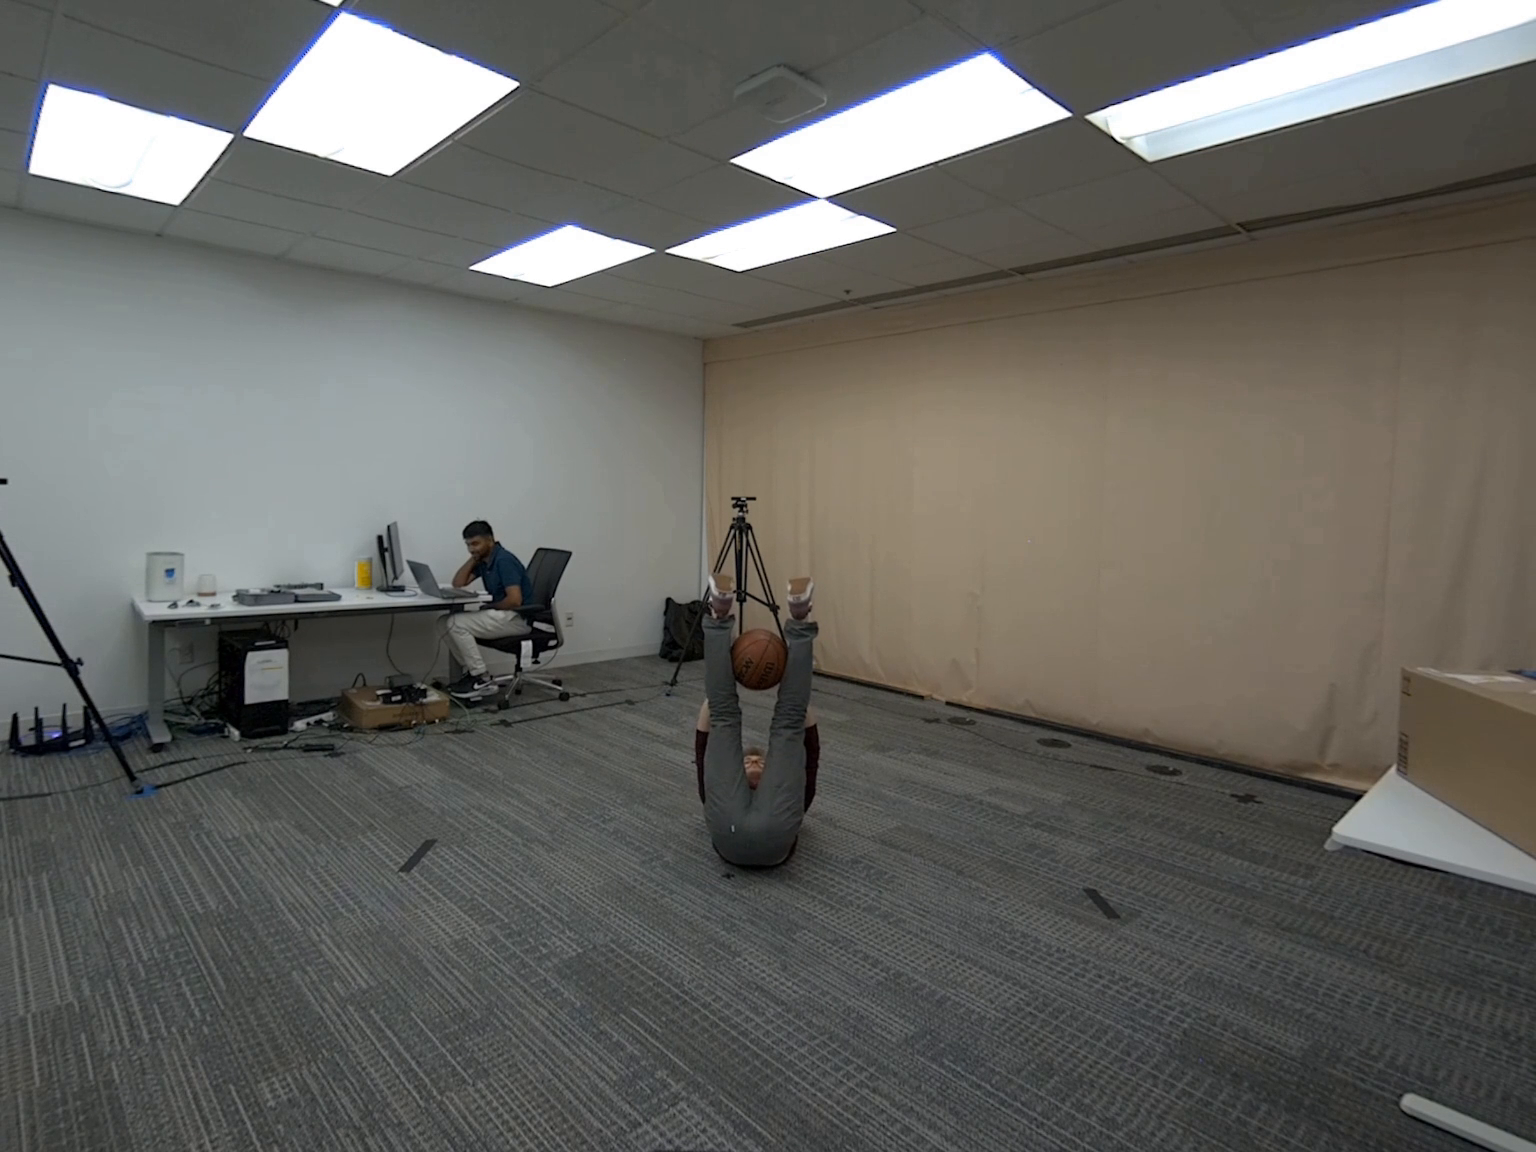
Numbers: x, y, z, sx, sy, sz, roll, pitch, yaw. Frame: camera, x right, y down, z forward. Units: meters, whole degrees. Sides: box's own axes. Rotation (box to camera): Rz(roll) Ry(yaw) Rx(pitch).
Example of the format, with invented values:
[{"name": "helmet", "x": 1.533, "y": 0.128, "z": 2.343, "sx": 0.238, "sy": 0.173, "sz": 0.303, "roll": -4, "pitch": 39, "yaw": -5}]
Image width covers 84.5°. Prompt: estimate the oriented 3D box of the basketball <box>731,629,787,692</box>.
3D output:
[{"name": "basketball", "x": -0.046, "y": 0.325, "z": 3.284, "sx": 0.236, "sy": 0.235, "sz": 0.237, "roll": 1, "pitch": 4, "yaw": -1}]
